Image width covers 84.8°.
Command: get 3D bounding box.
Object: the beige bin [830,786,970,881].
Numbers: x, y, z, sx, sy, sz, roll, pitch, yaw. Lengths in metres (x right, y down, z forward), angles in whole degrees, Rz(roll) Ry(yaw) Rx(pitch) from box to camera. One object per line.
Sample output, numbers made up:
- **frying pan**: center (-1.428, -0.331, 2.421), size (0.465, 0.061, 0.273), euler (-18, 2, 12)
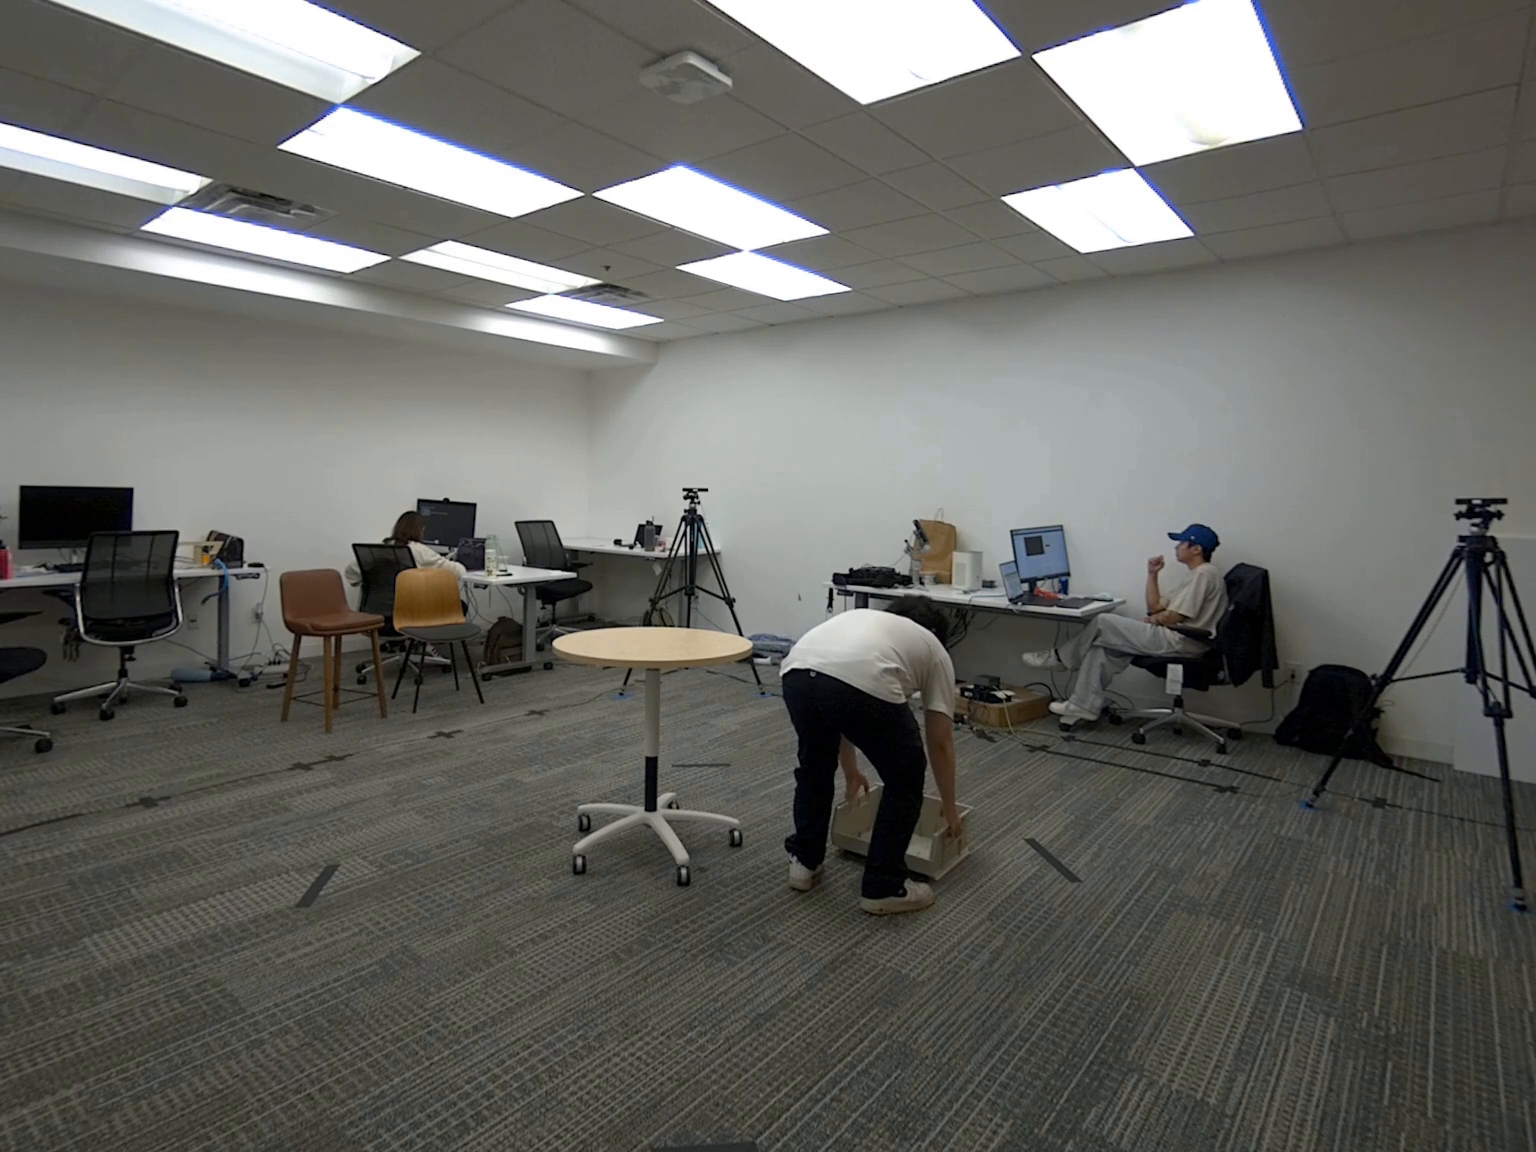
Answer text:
- **beige bin**: center (0.507, 0.975, 3.272), size (0.436, 0.188, 0.366), euler (3, 4, 36)
